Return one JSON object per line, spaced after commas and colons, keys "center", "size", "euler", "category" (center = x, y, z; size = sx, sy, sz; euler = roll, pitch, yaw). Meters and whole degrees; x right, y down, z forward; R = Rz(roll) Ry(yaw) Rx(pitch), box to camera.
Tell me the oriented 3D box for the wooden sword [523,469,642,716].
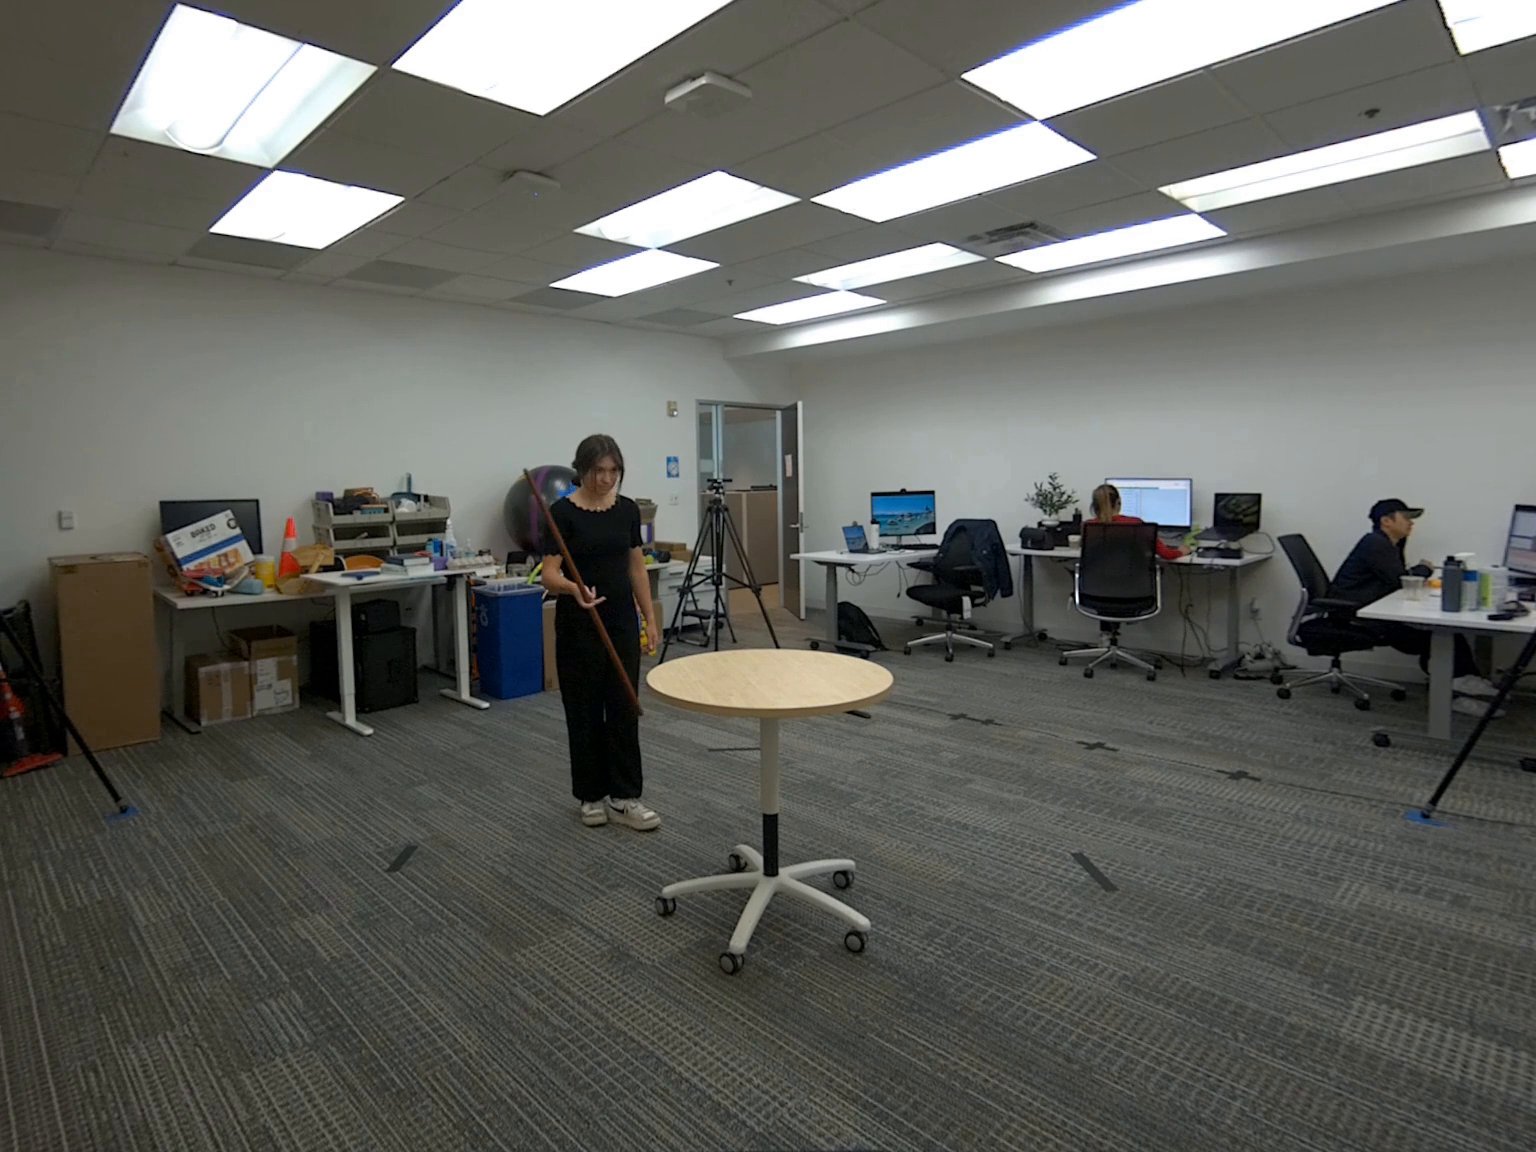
{"center": [-0.664, 0.089, 3.148], "size": [0.051, 1.003, 0.024], "euler": [-22, 18, 1], "category": "wooden sword"}
